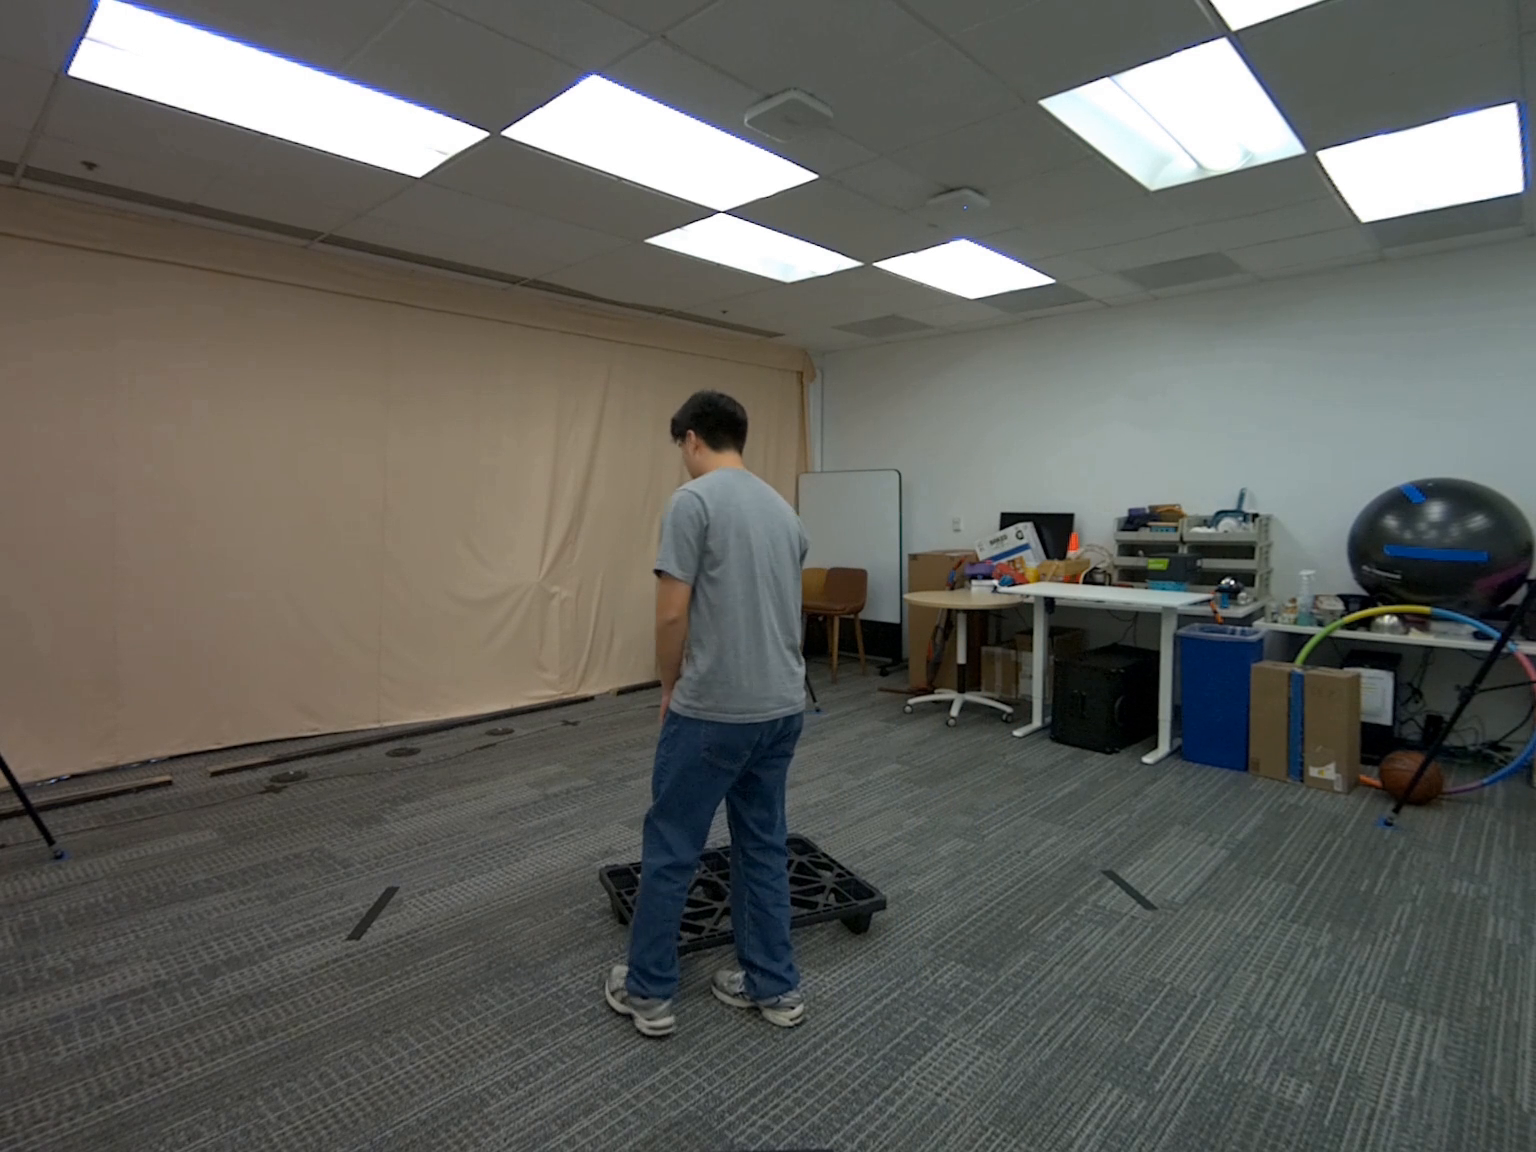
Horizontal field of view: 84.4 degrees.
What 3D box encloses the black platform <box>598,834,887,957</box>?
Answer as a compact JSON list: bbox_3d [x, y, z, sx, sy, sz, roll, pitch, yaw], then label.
[{"bbox_3d":[-0.103,1.090,2.817,0.787,0.143,0.621,-2,4,-25],"label":"black platform"}]
